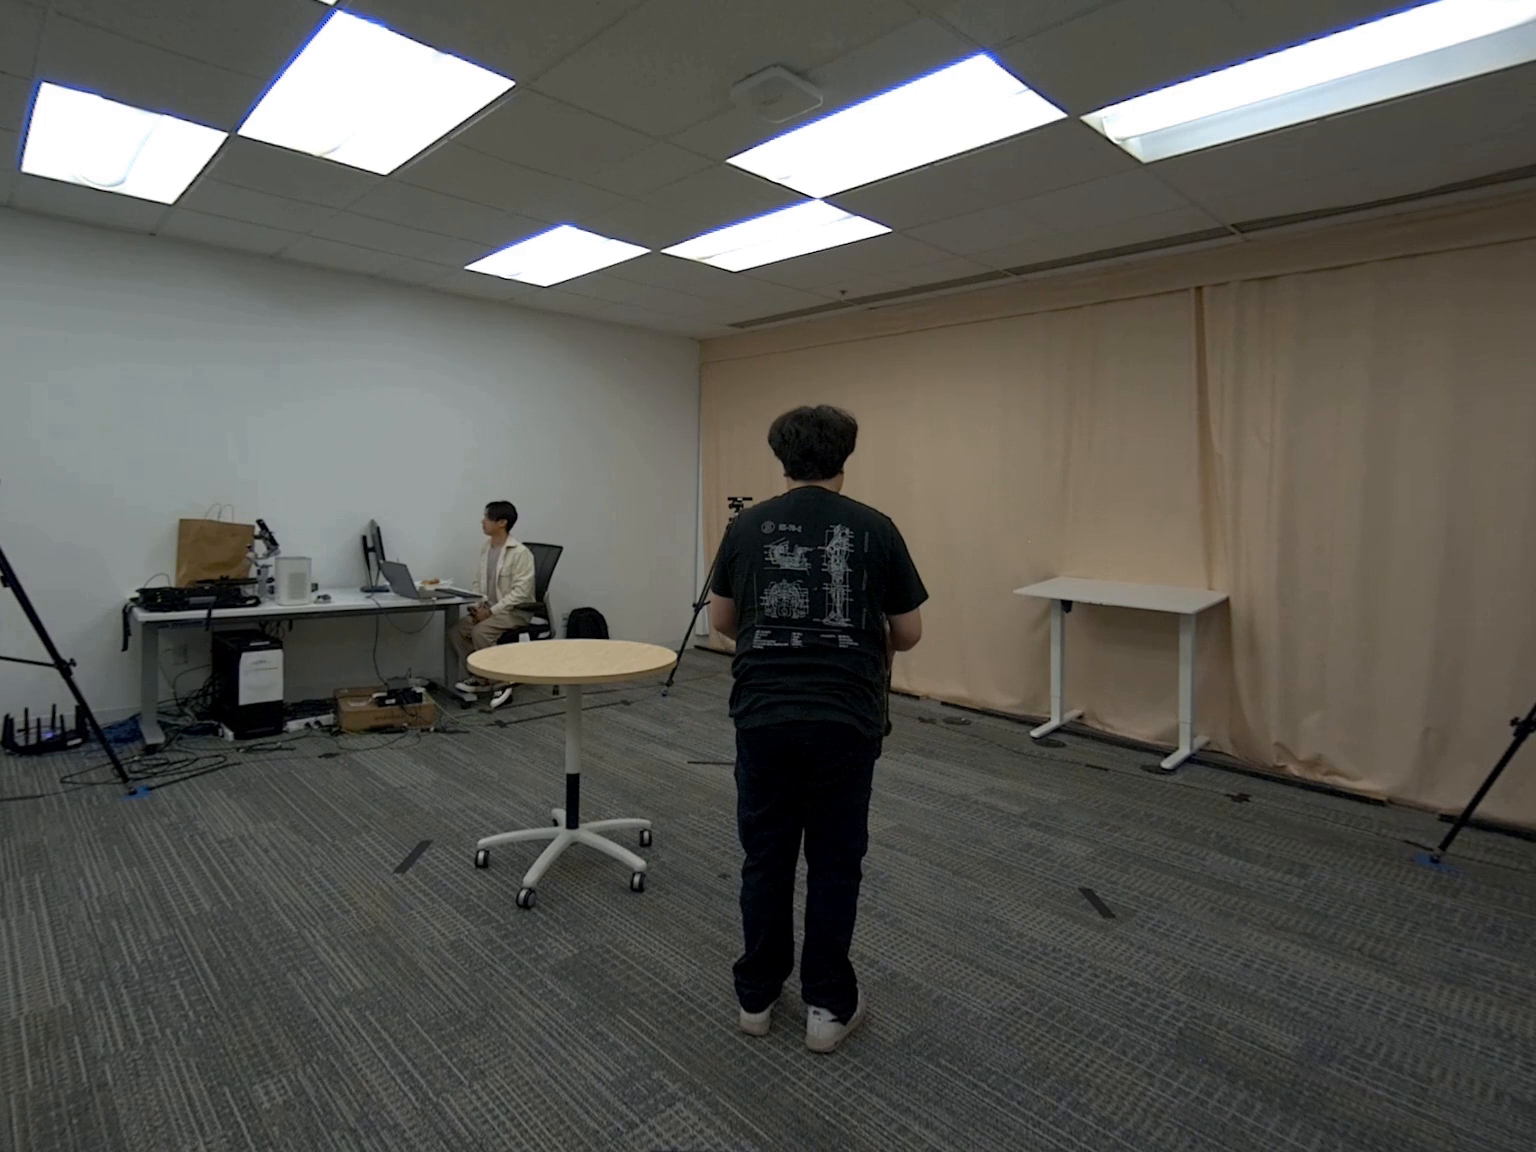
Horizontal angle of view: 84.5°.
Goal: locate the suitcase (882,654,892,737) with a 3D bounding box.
[{"bbox_3d":[0.195,0.268,2.592,0.379,0.547,0.247,2,6,13],"label":"suitcase"}]
